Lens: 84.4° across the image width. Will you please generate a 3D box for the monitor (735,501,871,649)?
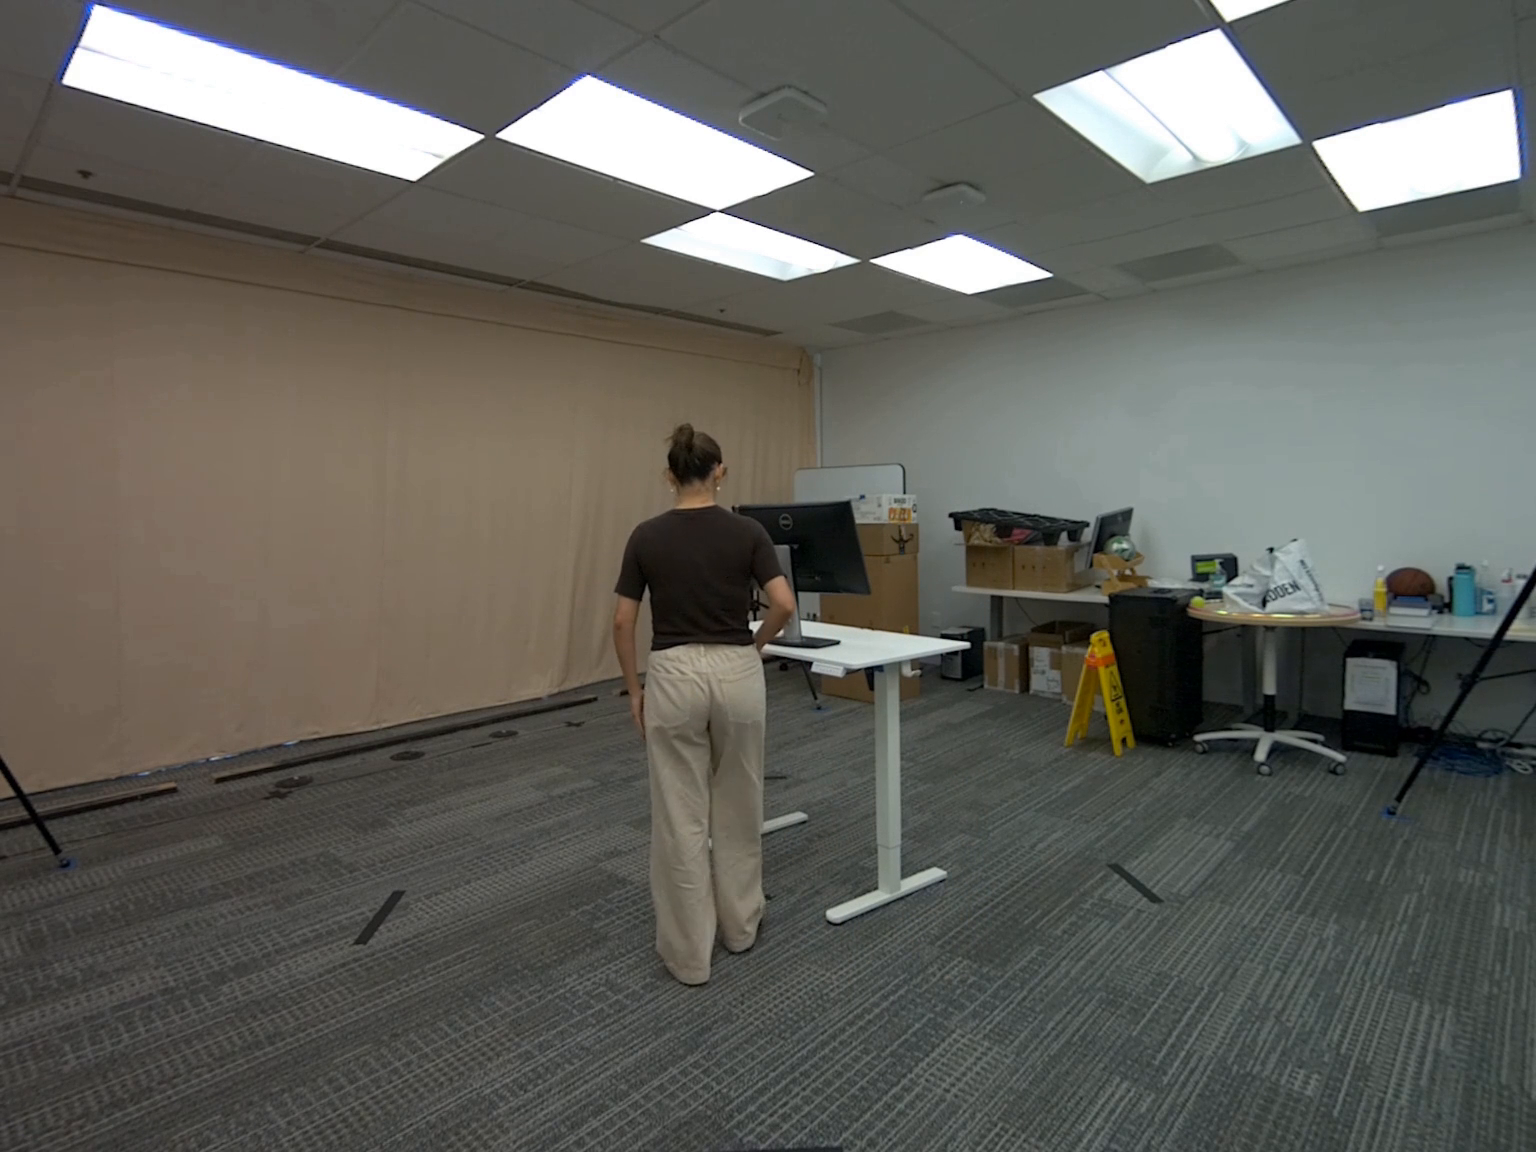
[{"bbox_3d":[0.101,-0.005,3.062,0.556,0.521,0.182,0,6,38],"label":"monitor"}]
